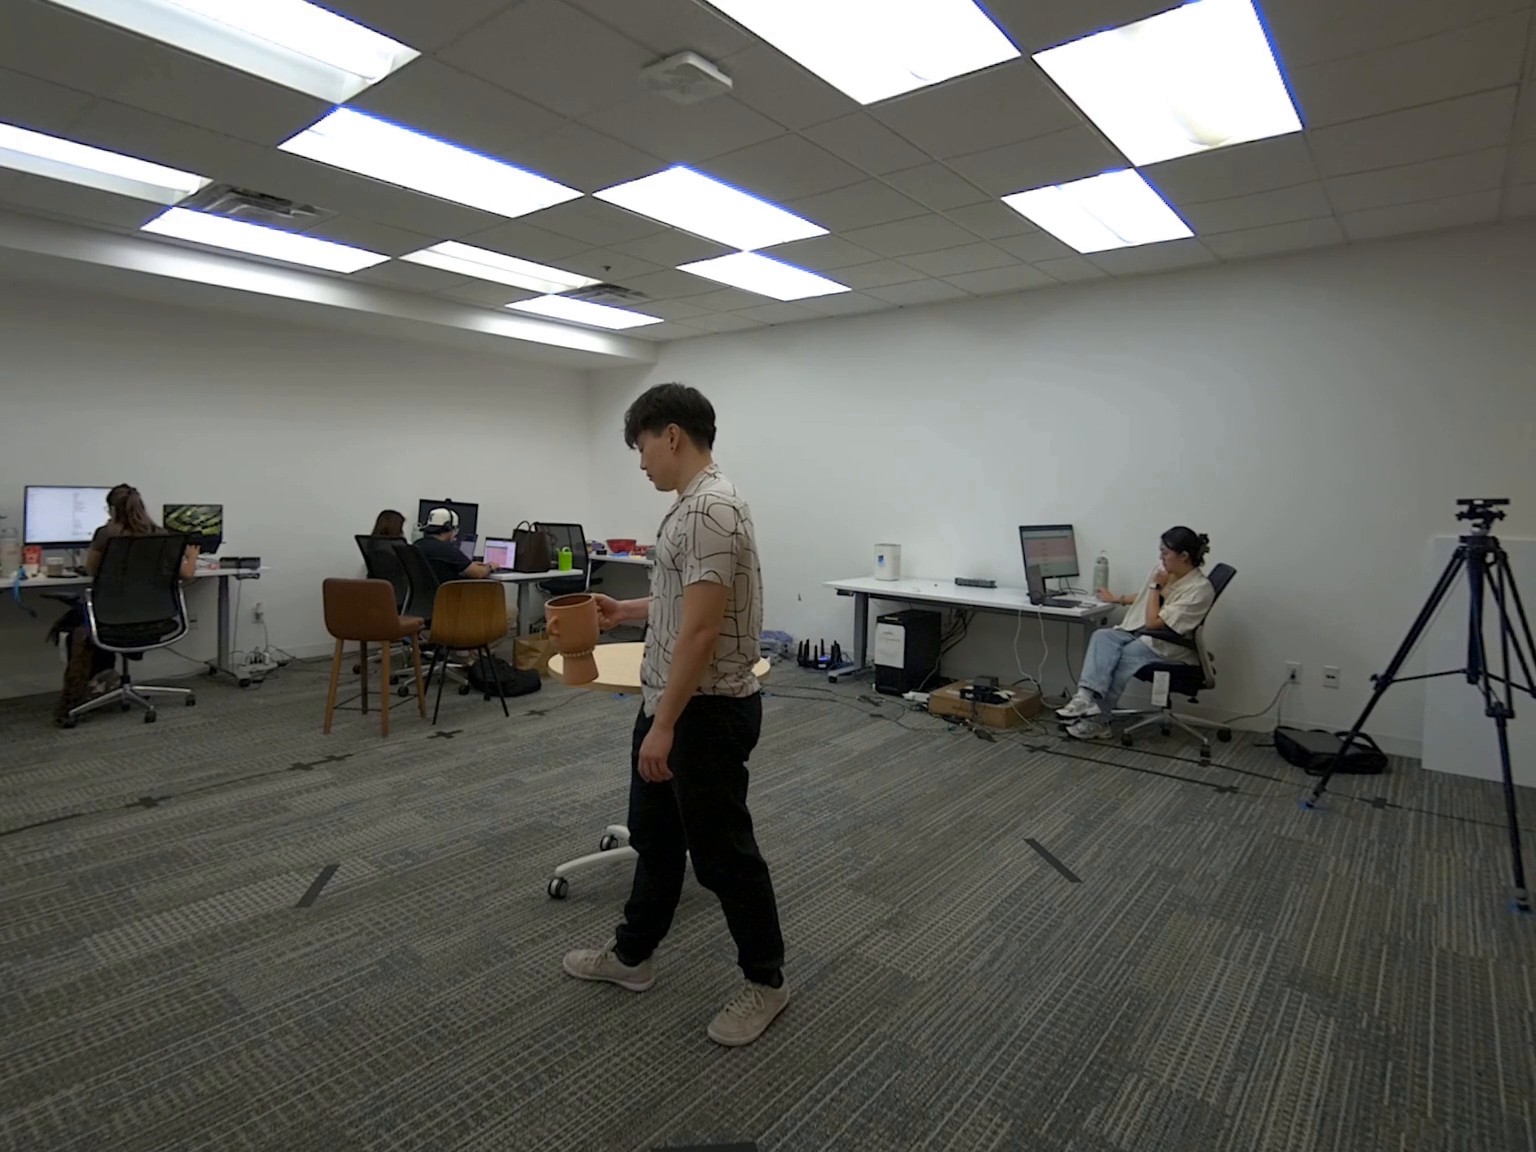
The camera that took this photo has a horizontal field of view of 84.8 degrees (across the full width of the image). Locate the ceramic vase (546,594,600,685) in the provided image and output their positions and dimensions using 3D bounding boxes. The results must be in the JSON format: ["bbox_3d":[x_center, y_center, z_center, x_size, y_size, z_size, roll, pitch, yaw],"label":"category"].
[{"bbox_3d":[-0.522,0.166,2.278,0.156,0.217,0.139,-11,13,-22],"label":"ceramic vase"}]
